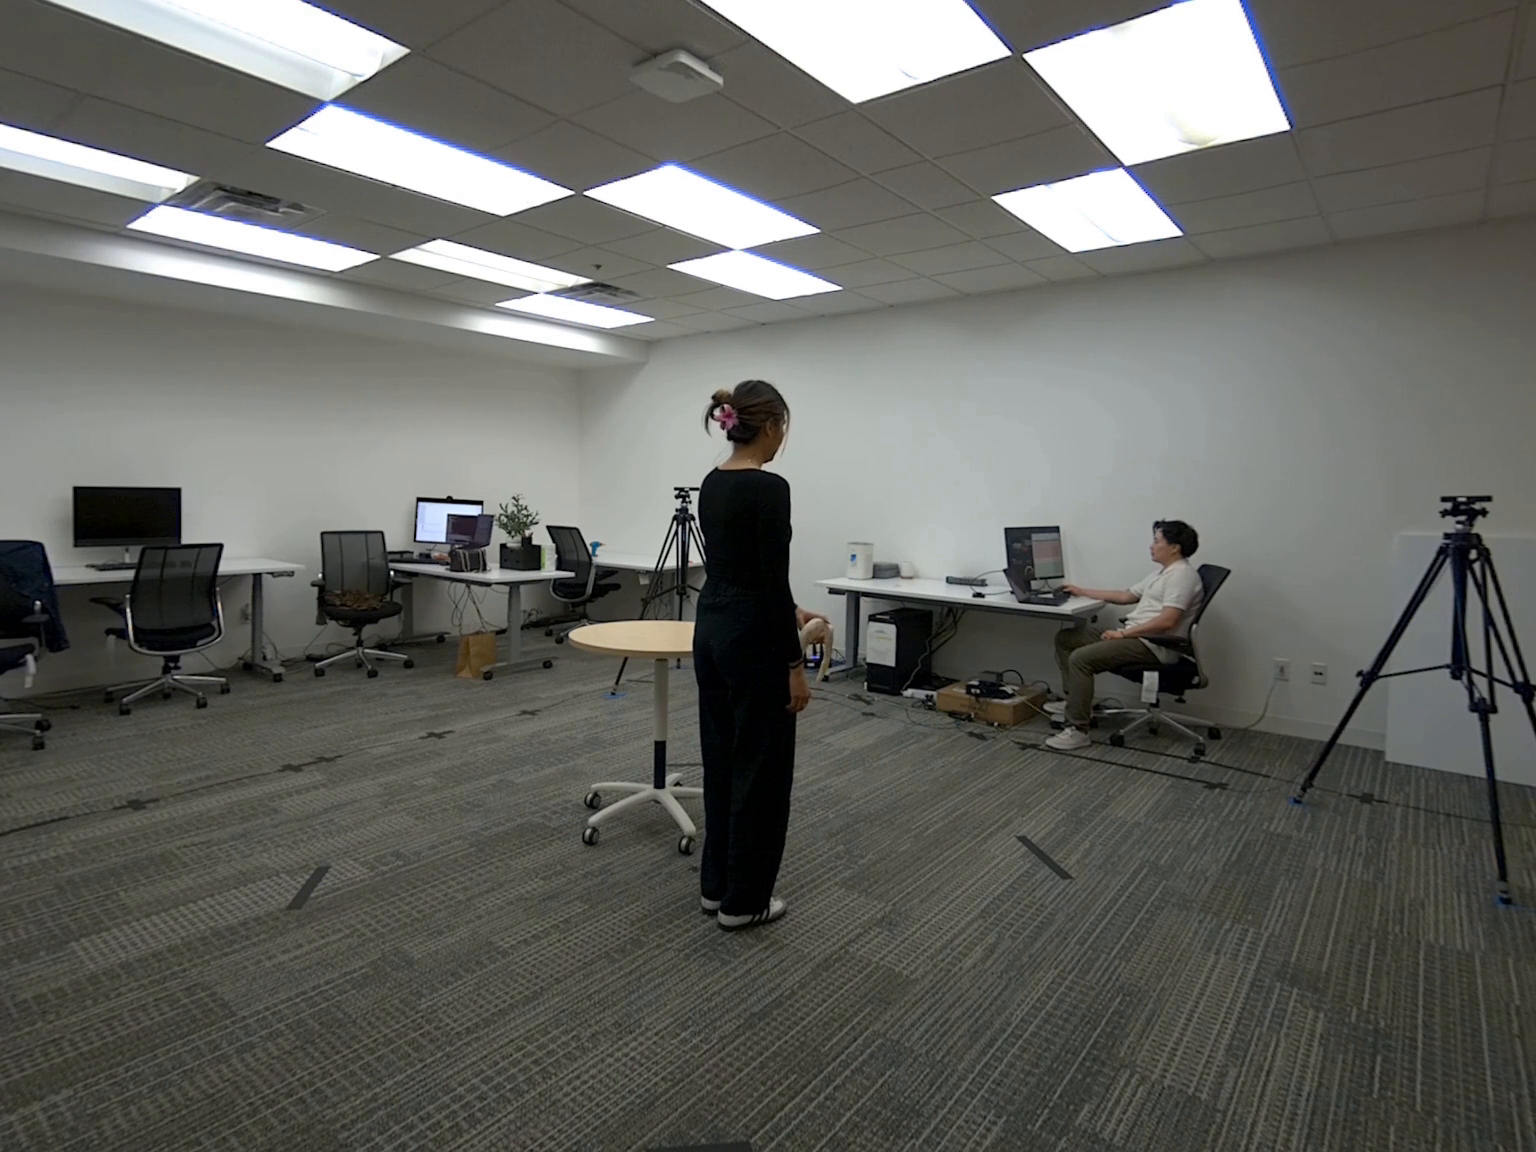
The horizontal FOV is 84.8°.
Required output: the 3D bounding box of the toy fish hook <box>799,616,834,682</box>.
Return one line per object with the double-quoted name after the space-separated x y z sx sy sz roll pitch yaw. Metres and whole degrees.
0.110 0.386 2.878 0.050 0.510 0.215 7 -21 46 "toy fish hook"
